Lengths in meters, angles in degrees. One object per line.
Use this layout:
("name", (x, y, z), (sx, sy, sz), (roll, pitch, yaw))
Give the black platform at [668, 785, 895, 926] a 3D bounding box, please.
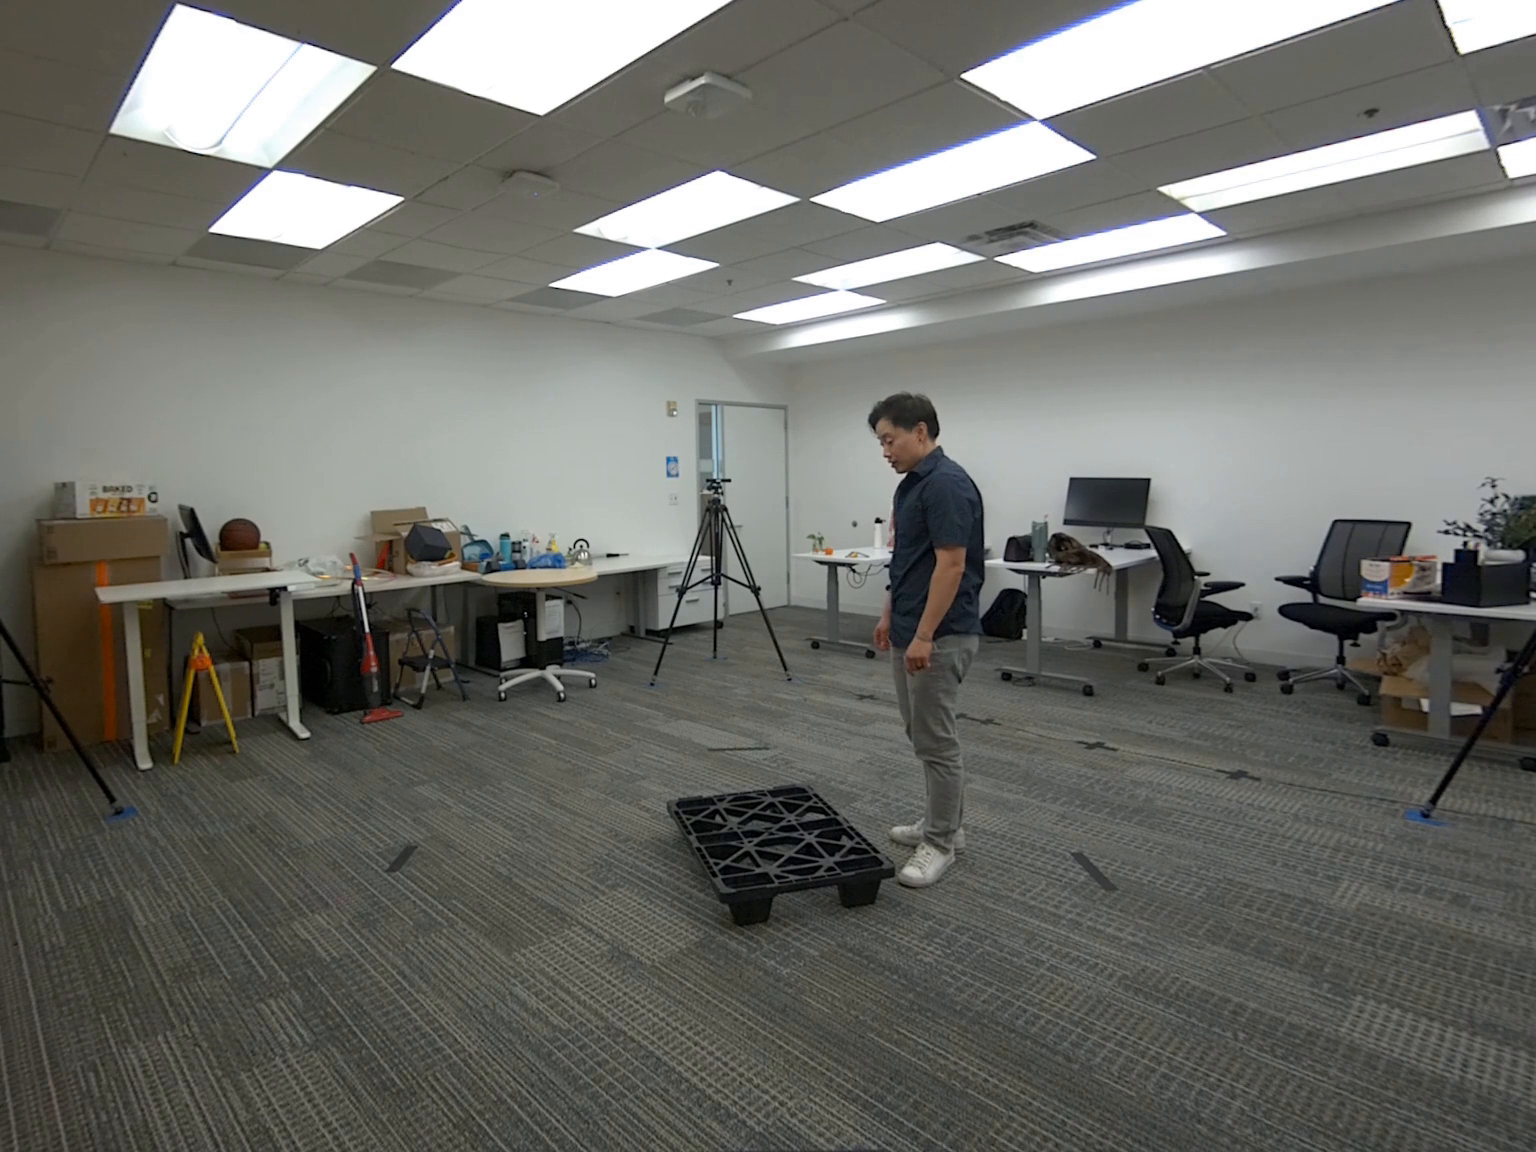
("black platform", (0.009, 0.979, 3.073), (0.596, 0.143, 0.821), (-3, 6, -17))
